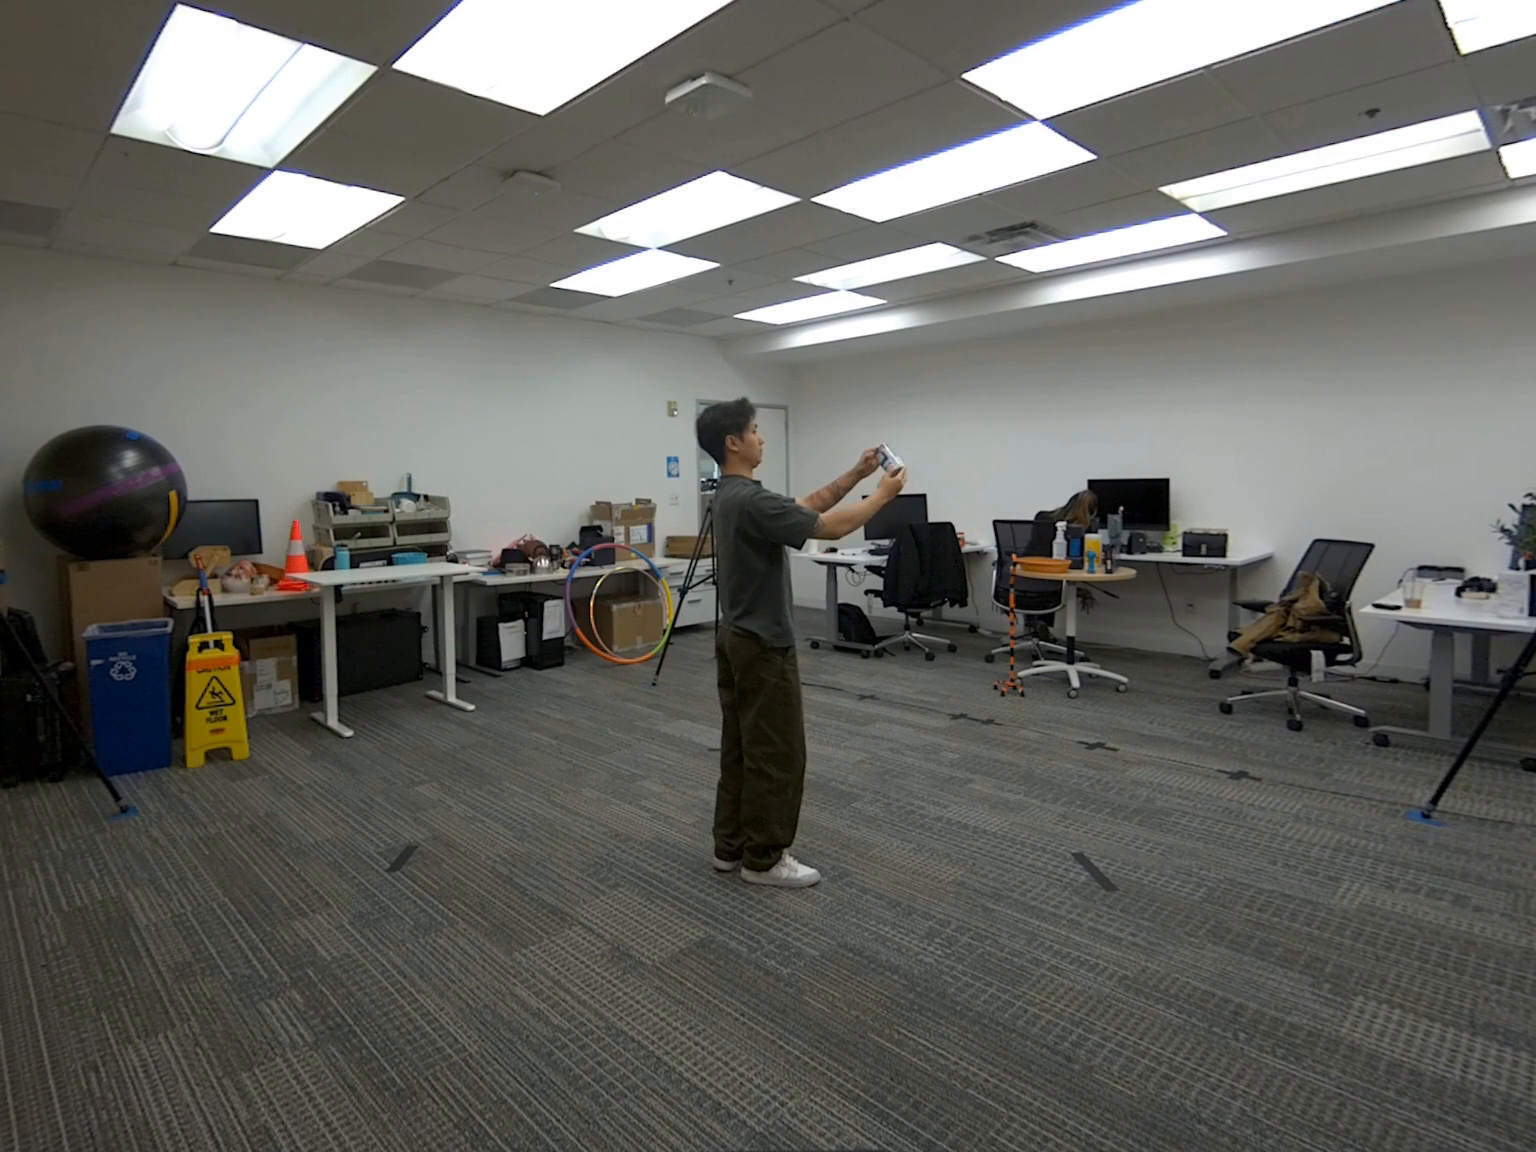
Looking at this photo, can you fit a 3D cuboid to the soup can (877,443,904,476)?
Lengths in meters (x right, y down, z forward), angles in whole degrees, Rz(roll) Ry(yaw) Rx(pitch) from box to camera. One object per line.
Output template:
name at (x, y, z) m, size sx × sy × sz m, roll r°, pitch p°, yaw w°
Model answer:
soup can at (0.427, -0.405, 3.027) m, size 0.066 × 0.125 × 0.065 m, roll -20°, pitch -27°, yaw -12°
